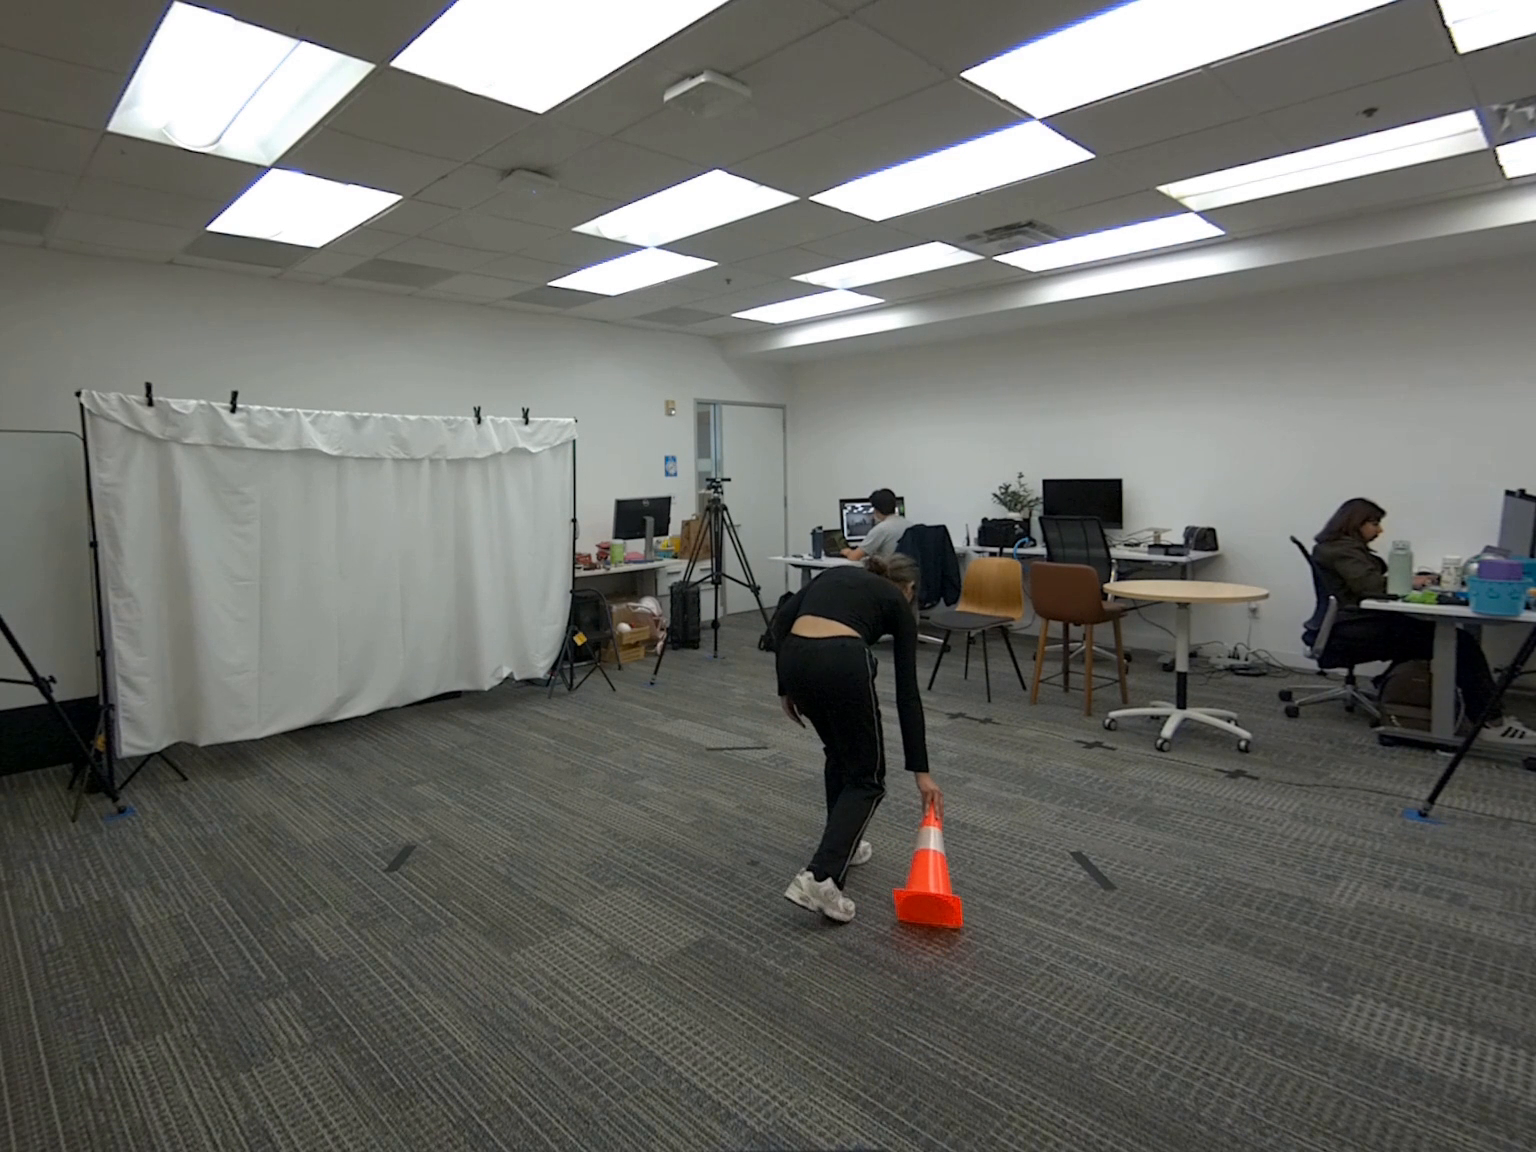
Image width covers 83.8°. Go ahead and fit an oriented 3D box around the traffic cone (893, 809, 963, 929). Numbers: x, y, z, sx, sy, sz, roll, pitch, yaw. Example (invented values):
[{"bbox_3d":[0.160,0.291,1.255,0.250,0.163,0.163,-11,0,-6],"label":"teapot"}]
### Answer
[{"bbox_3d":[0.524,0.882,2.728,0.208,0.197,0.390,1,43,14],"label":"traffic cone"}]
